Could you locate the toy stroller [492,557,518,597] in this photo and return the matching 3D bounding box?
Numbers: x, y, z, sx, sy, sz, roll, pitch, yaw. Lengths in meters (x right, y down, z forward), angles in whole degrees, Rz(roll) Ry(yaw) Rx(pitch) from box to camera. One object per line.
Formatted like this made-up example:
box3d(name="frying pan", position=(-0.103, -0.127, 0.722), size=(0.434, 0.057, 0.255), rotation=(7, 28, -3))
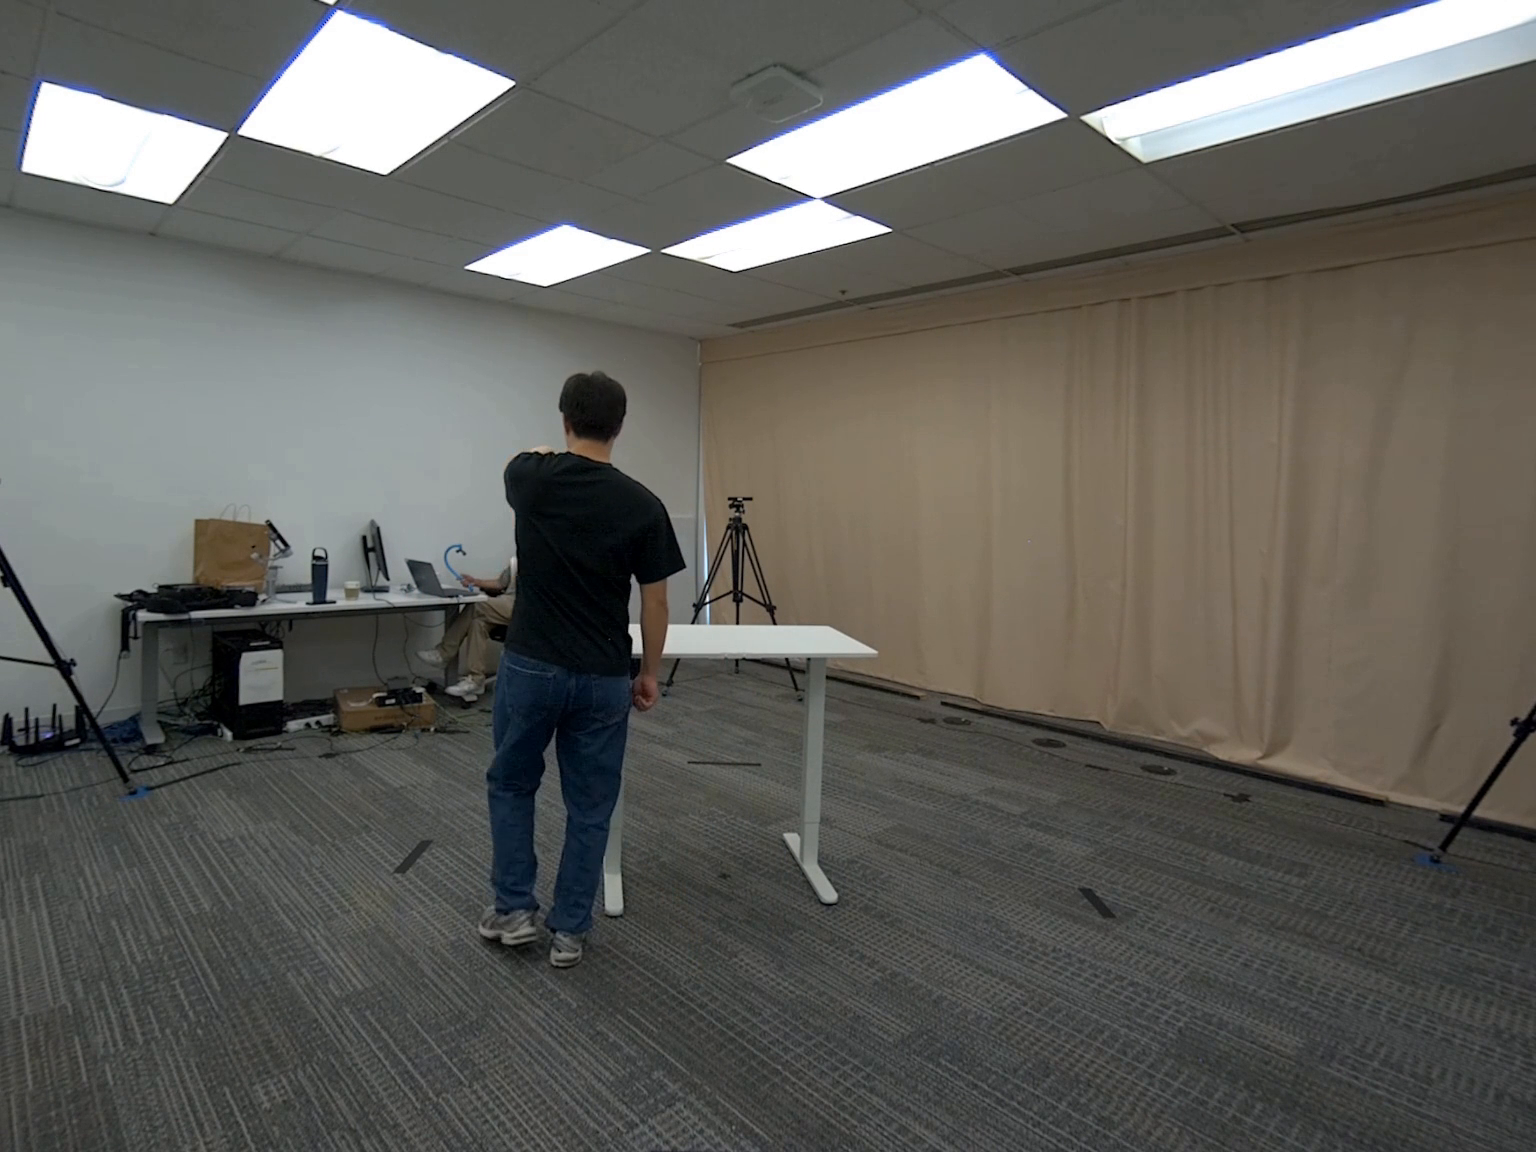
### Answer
box3d(name="toy stroller", position=(-0.842, -0.184, 3.224), size=(0.279, 0.533, 0.345), rotation=(-2, 6, -9))
